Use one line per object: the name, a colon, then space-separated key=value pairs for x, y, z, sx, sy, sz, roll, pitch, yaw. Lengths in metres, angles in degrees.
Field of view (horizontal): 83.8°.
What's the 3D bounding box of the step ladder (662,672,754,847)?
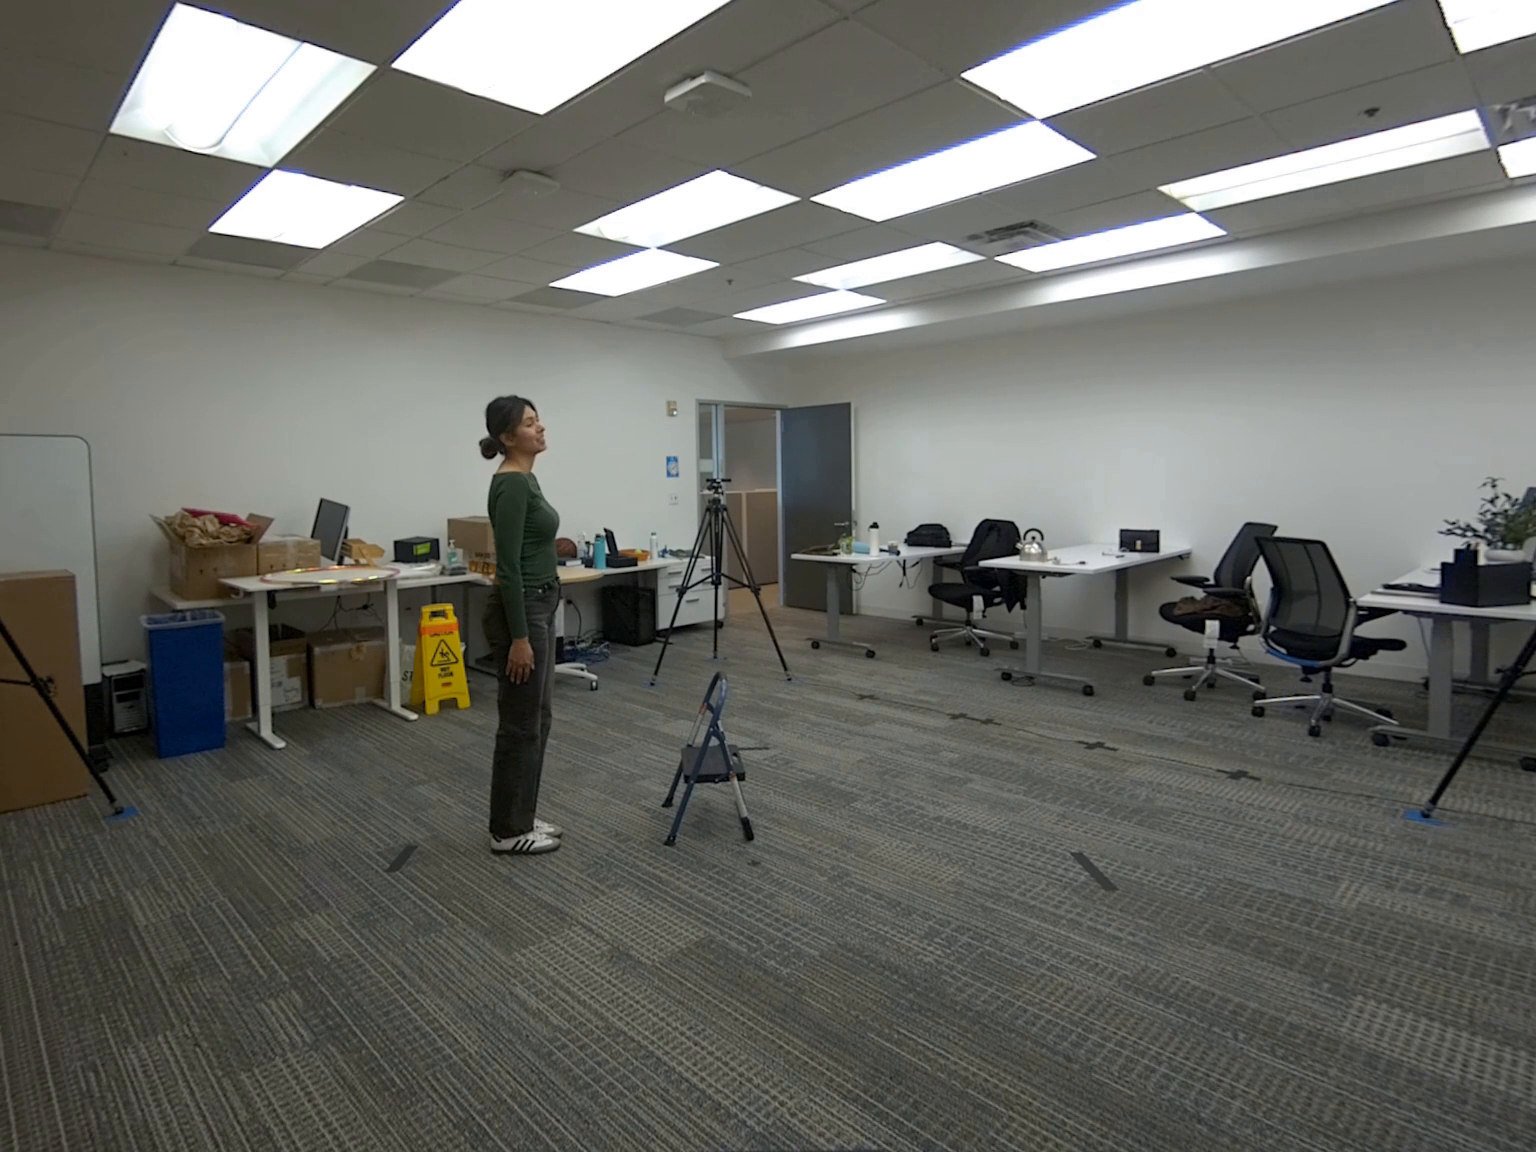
step ladder: x=-0.249 y=0.711 z=3.470 sx=0.347 sy=0.604 sz=0.435 roll=-1 pitch=5 yaw=-8
